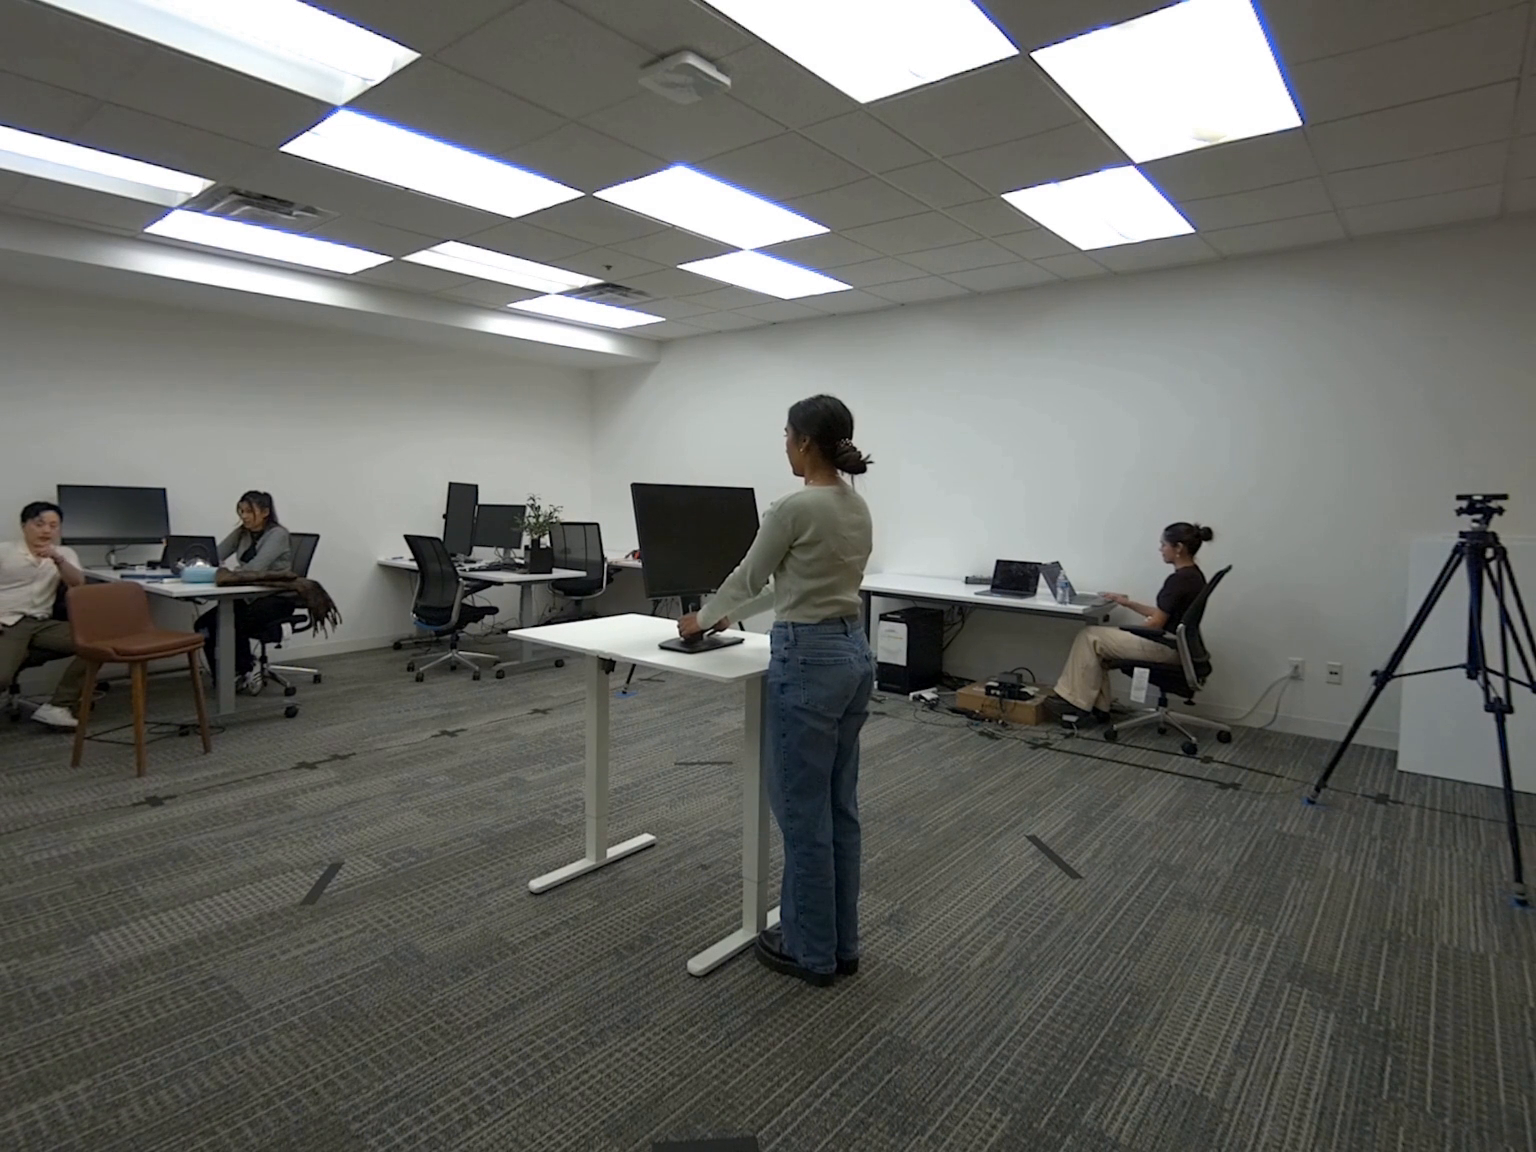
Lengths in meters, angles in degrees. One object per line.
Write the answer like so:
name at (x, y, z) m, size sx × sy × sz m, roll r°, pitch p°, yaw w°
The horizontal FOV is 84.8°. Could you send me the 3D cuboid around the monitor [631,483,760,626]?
monitor at (-0.244, -0.031, 2.736) m, size 0.193 × 0.521 × 0.523 m, roll 2°, pitch 3°, yaw 41°
